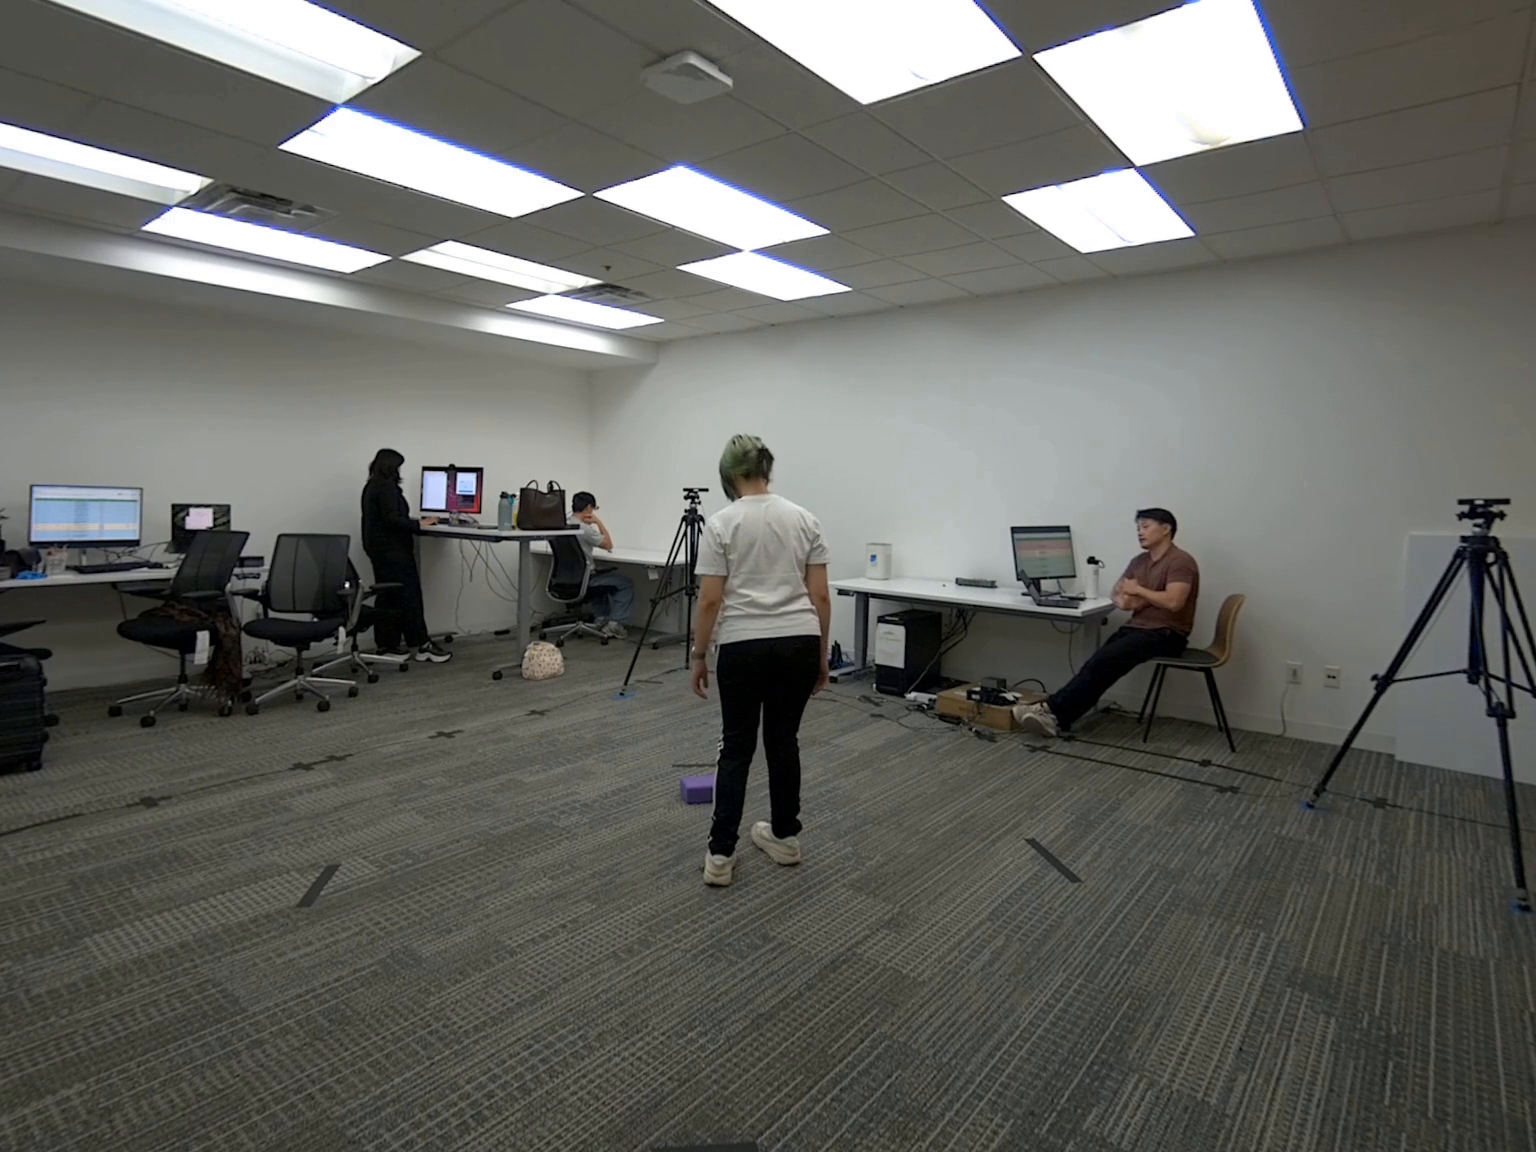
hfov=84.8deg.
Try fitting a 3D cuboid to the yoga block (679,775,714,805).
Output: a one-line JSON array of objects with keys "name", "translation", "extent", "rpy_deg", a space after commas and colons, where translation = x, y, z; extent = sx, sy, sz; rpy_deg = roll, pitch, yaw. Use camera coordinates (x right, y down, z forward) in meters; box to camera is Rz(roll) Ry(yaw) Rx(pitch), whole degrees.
[{"name": "yoga block", "translation": [-0.282, 0.958, 3.845], "extent": [0.226, 0.076, 0.152], "rpy_deg": [-1, 5, -16]}]
